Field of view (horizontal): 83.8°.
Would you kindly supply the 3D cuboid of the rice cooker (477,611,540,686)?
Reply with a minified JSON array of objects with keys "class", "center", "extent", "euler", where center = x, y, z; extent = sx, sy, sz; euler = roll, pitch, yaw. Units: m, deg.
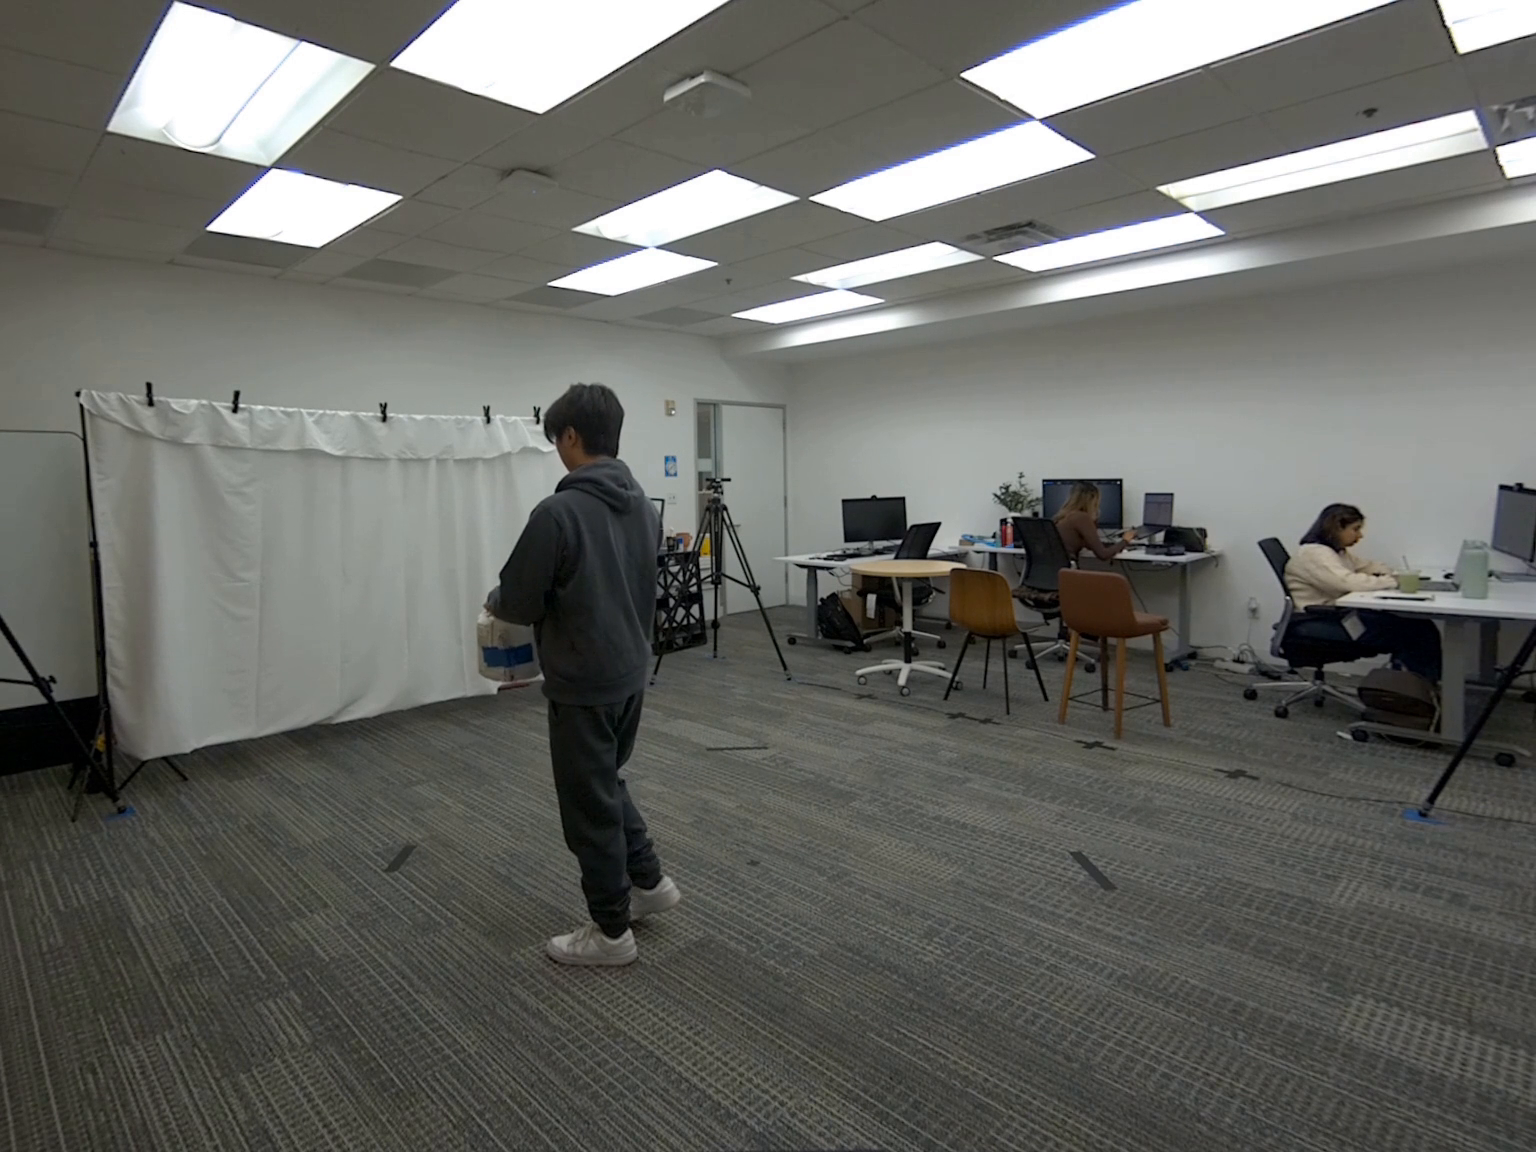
[{"class":"rice cooker","center":[-0.796,0.198,2.648],"extent":[0.224,0.232,0.215],"euler":[6,6,38]}]
